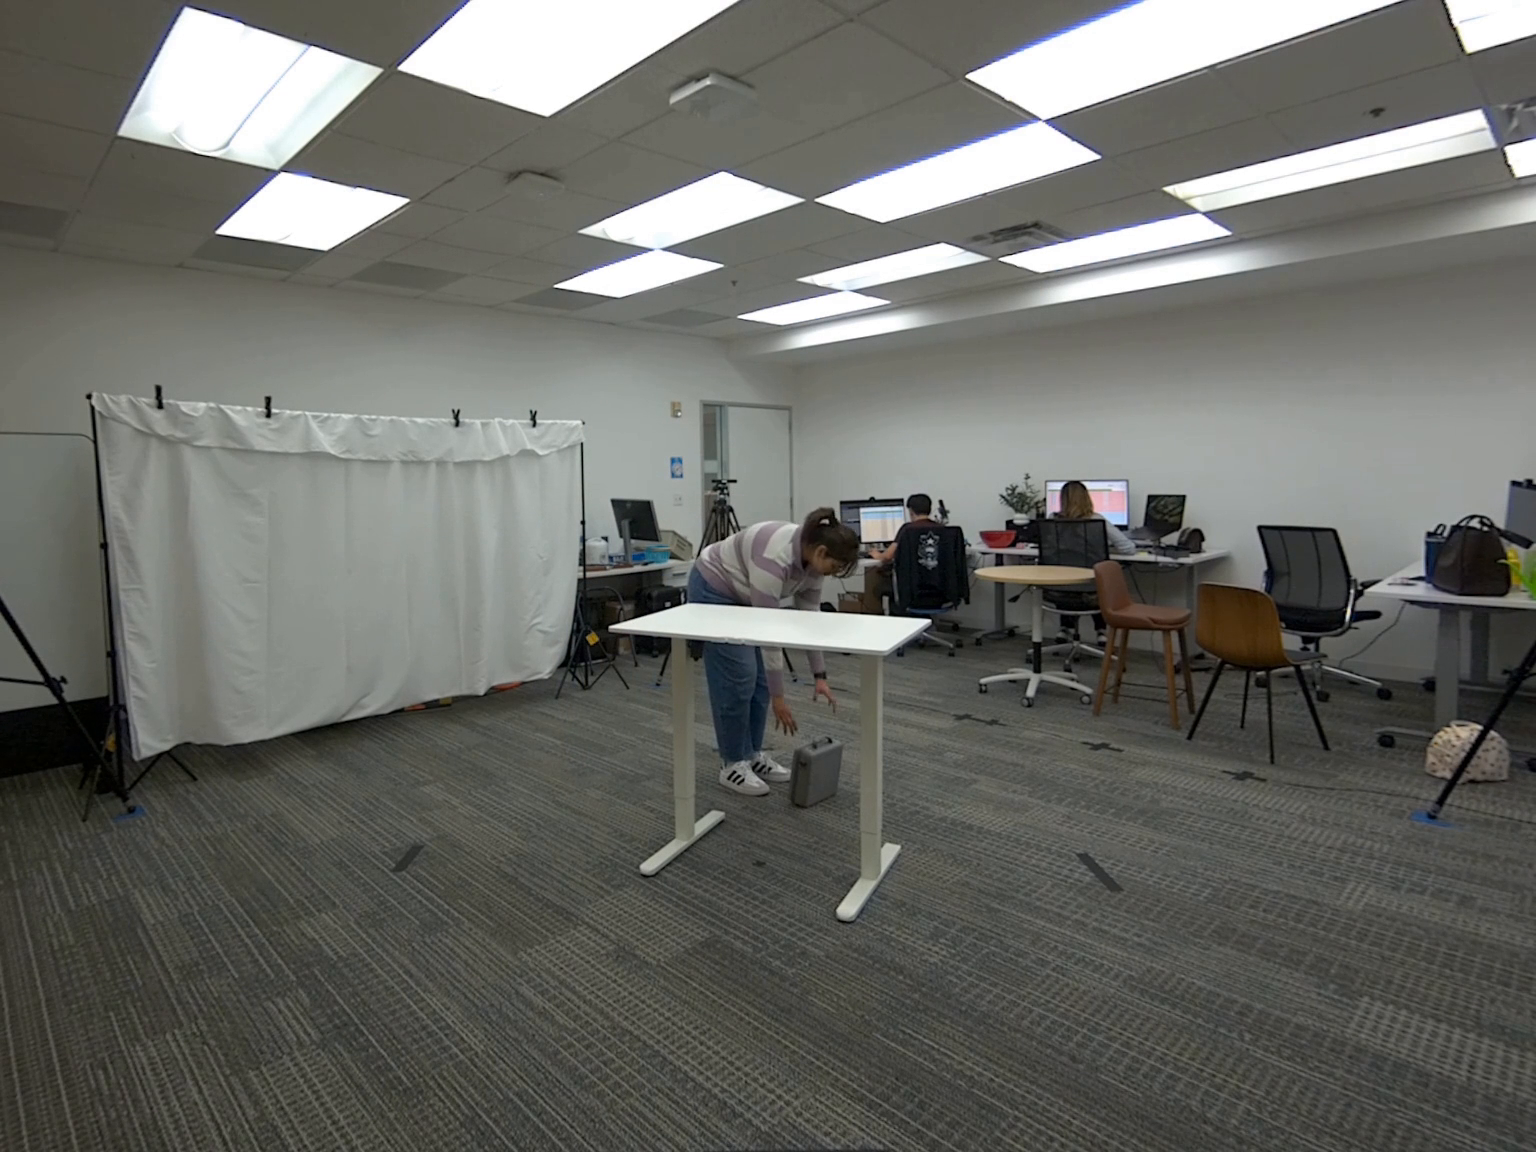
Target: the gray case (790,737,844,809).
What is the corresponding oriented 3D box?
[{"bbox_3d":[0.213,0.843,3.715,0.108,0.258,0.250,15,13,39],"label":"gray case"}]
